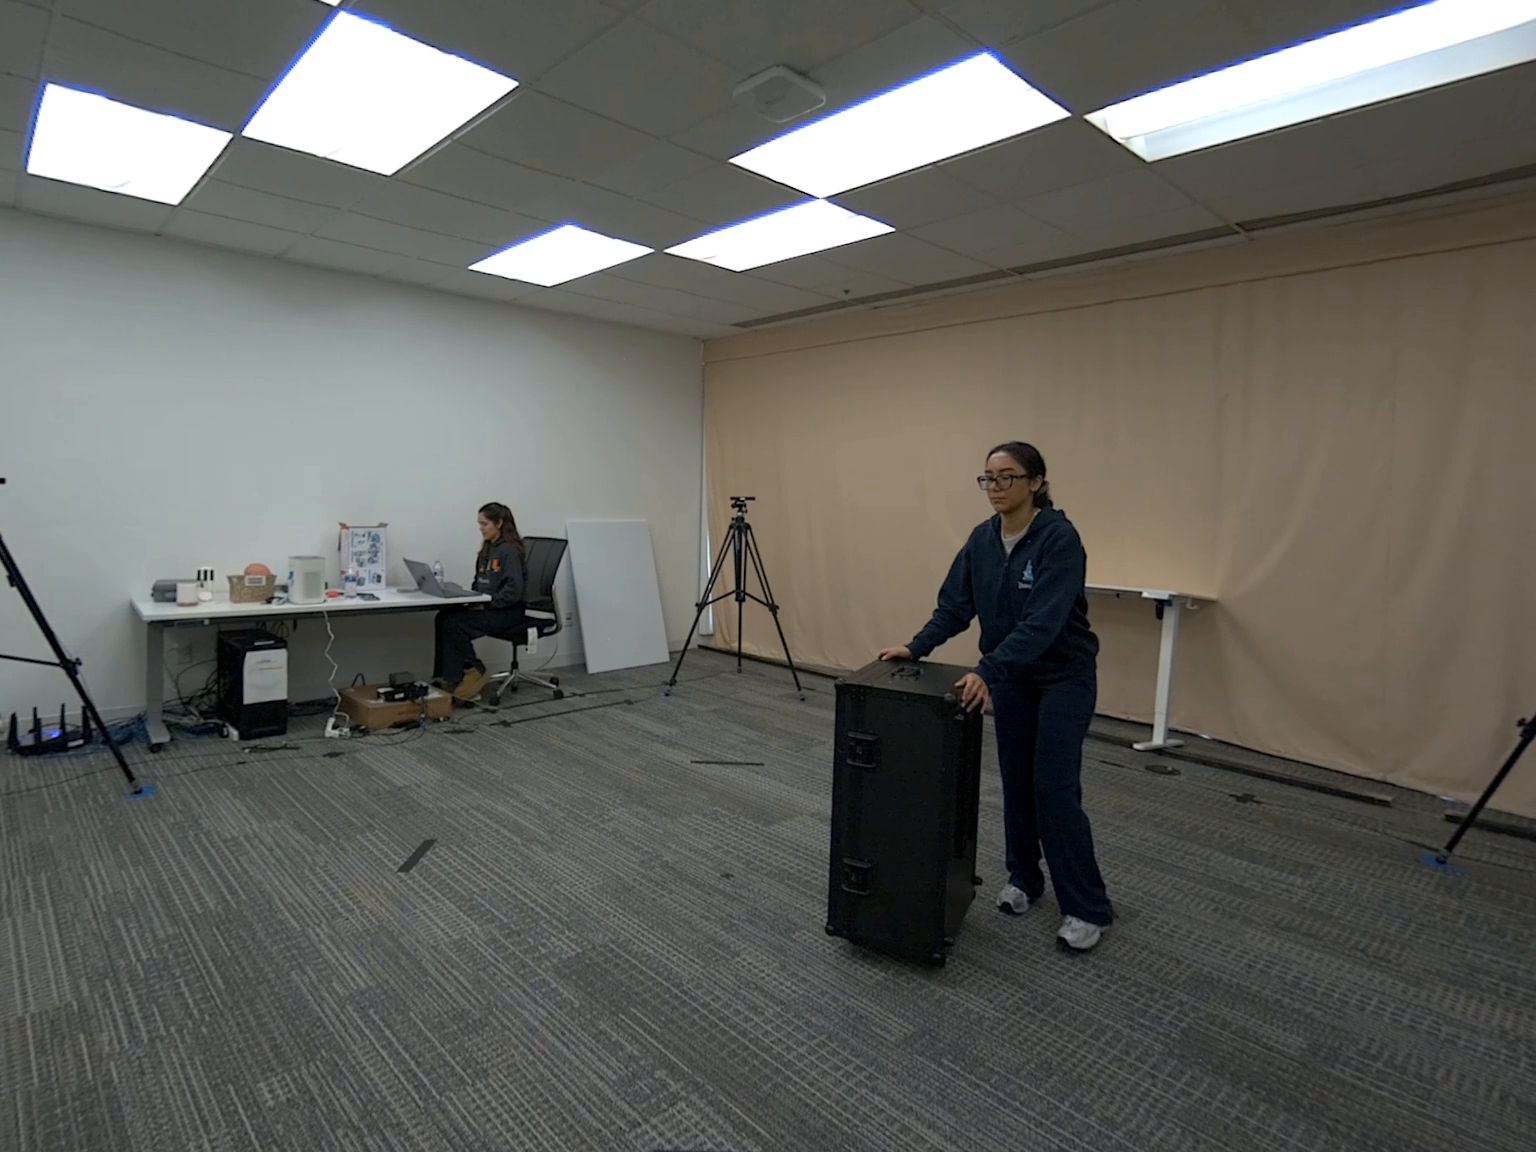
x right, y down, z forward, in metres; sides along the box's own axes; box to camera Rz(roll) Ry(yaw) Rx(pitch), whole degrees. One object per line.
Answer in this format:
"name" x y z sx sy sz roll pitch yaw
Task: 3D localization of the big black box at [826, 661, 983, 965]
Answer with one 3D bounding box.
"big black box" 0.455 0.738 2.678 0.404 0.859 0.512 4 4 25
